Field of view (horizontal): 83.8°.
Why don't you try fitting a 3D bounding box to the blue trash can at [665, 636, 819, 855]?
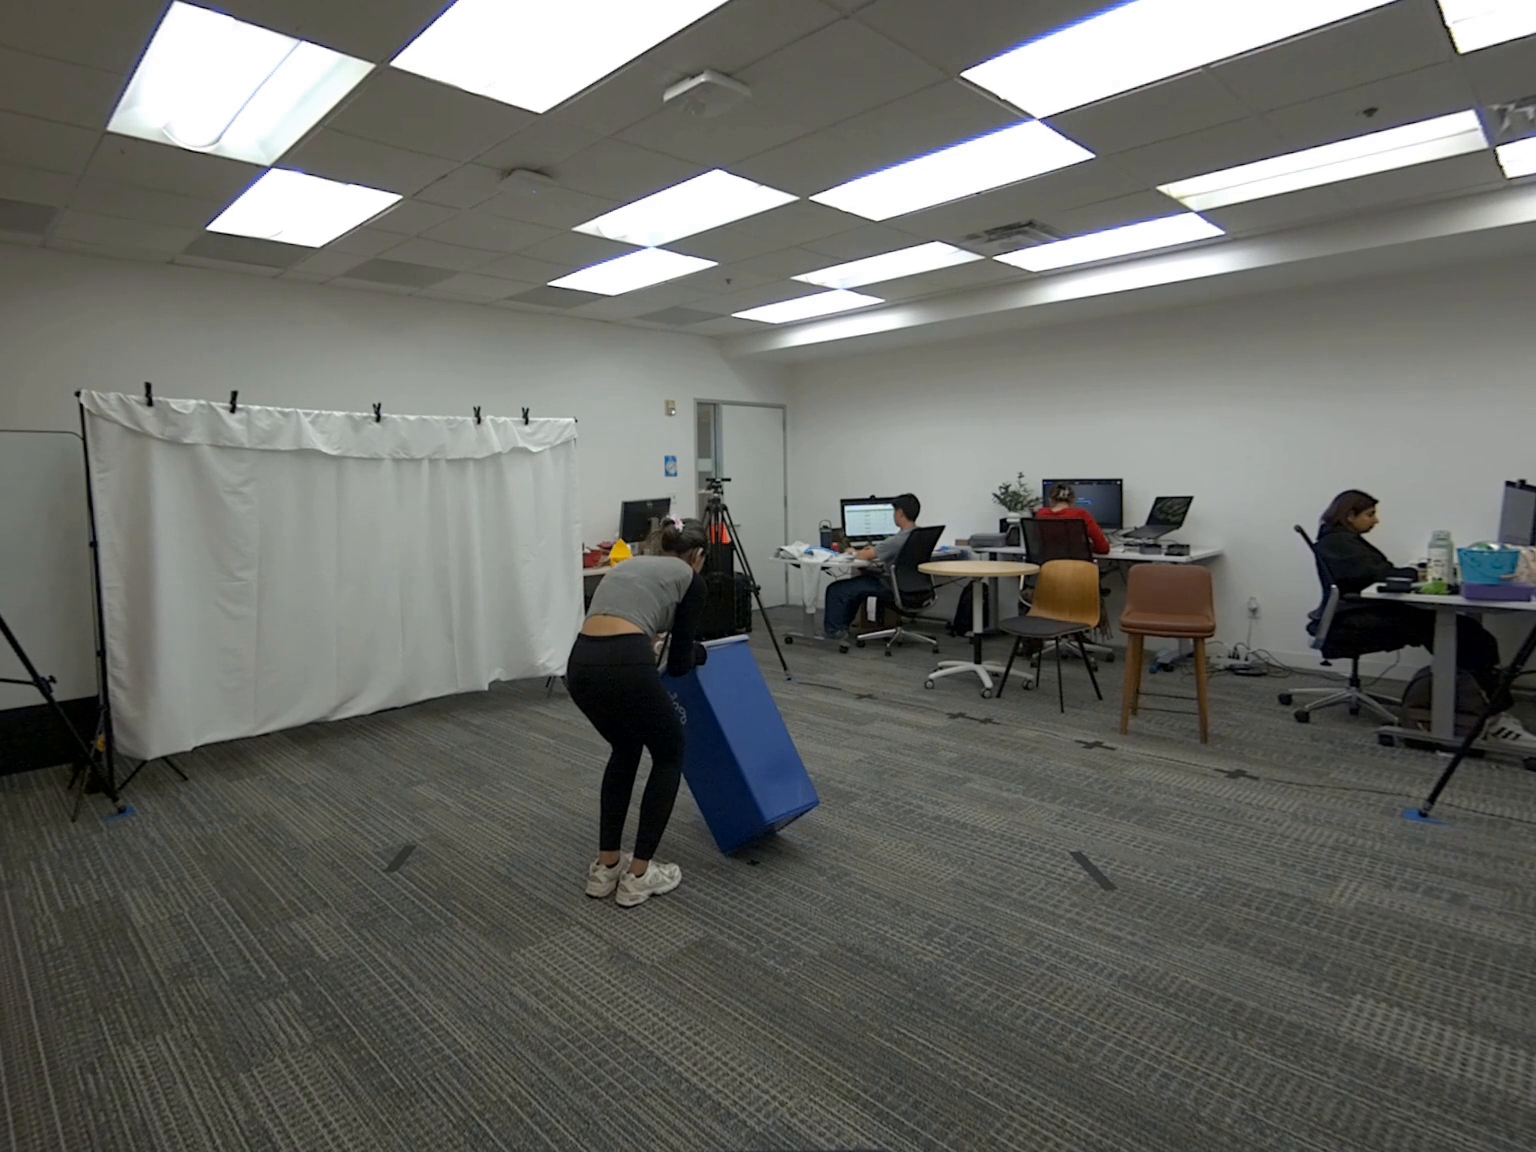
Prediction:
[{"bbox_3d":[-0.144,0.644,3.317,0.364,0.733,0.378,-4,-33,-44],"label":"blue trash can"}]
